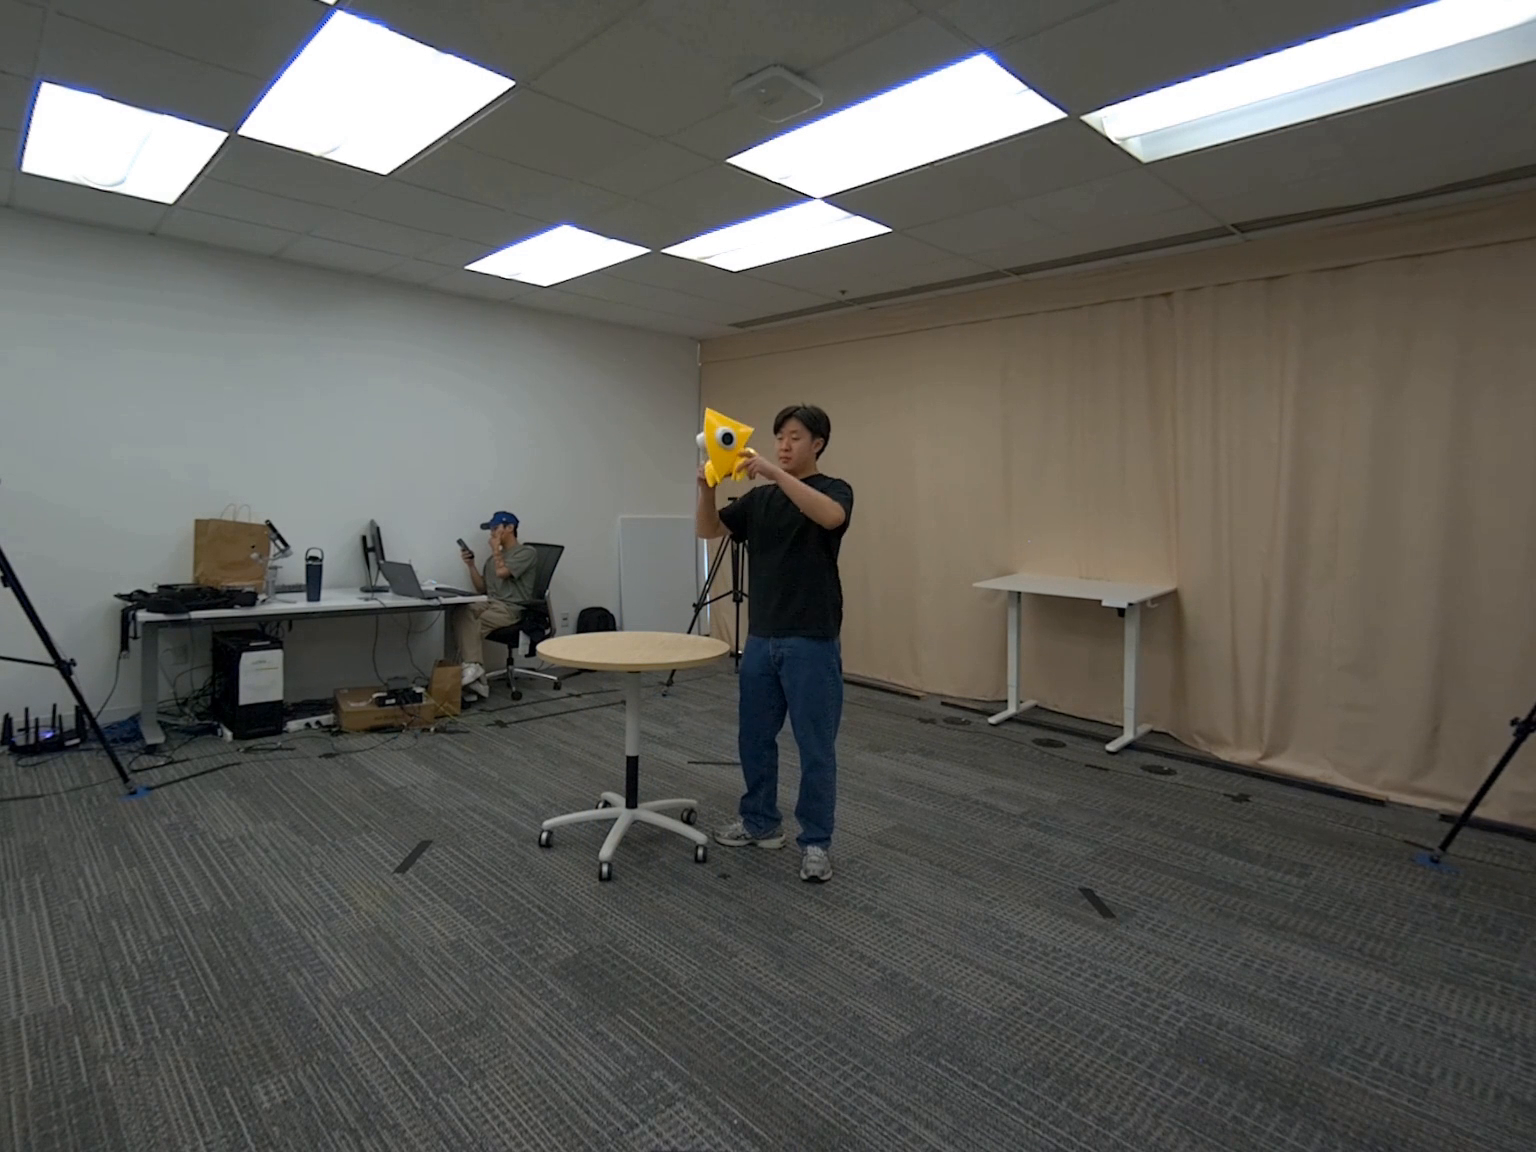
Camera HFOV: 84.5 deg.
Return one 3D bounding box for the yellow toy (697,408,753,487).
[{"bbox_3d":[-0.188,-0.466,2.975,0.209,0.195,0.224,-8,-48,38],"label":"yellow toy"}]
